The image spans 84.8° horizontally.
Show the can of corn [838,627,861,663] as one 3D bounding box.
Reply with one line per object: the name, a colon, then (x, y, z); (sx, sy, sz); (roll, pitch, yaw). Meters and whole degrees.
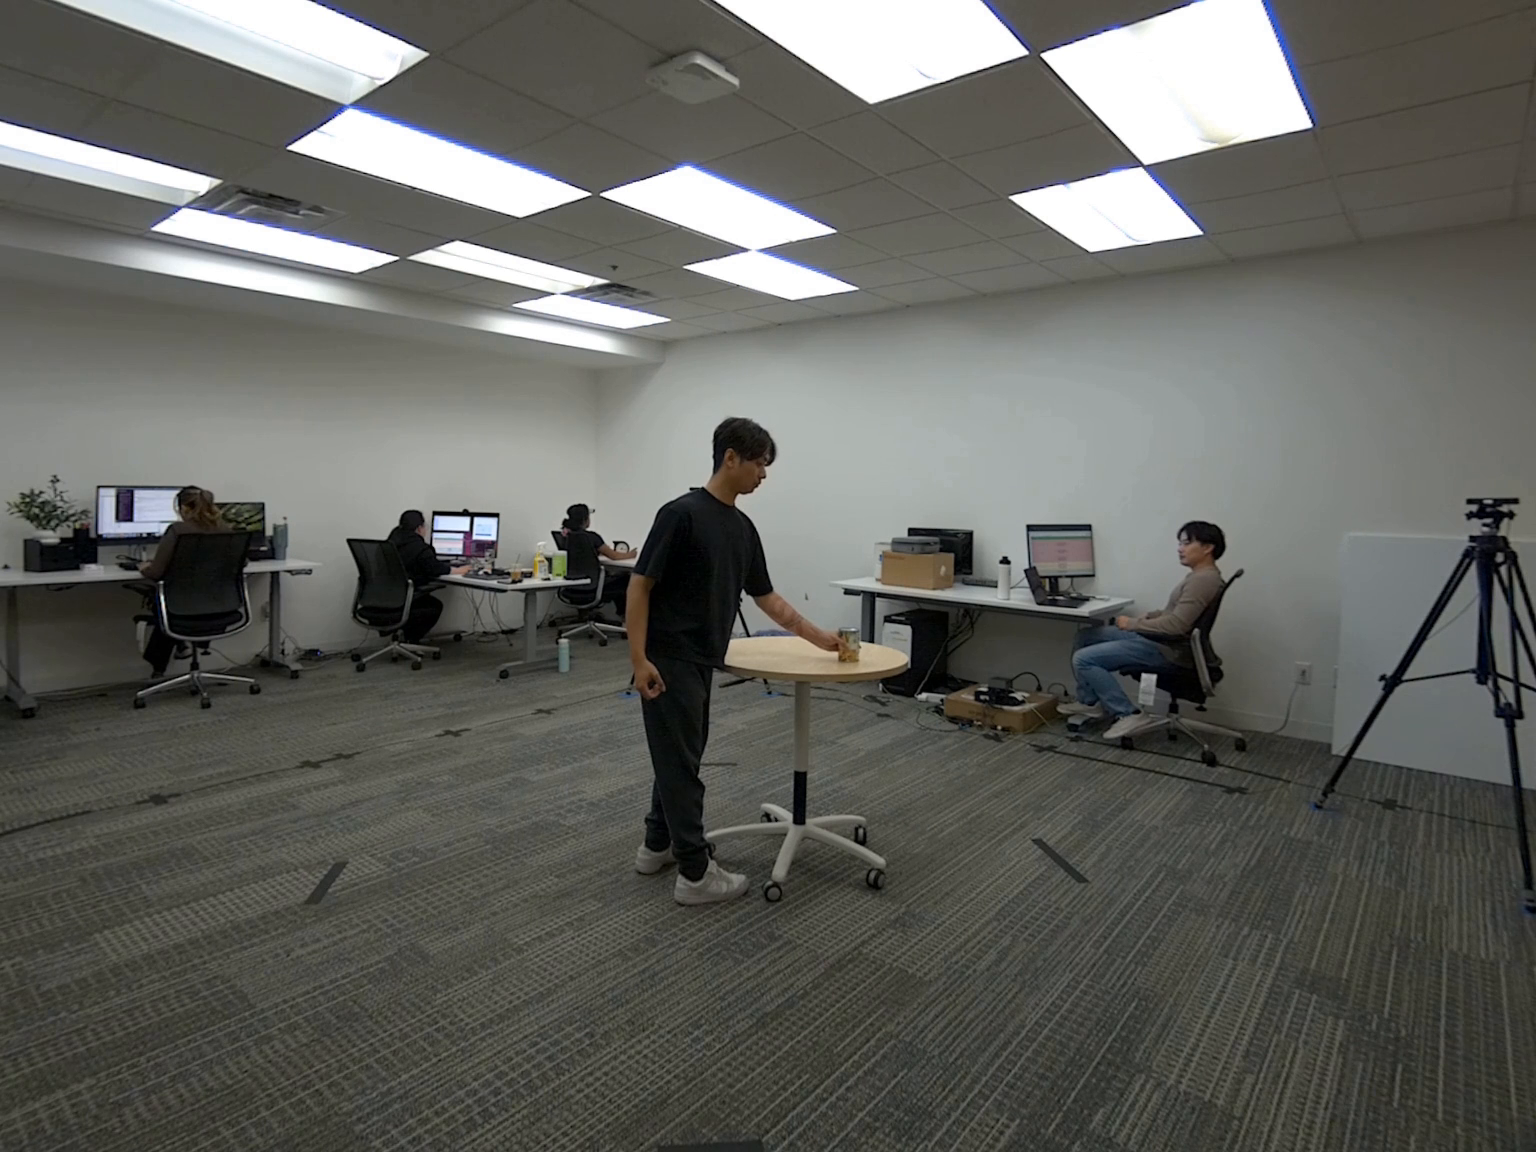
can of corn: (0.282, 0.242, 3.035); (0.074, 0.111, 0.074); (3, -1, -2)
